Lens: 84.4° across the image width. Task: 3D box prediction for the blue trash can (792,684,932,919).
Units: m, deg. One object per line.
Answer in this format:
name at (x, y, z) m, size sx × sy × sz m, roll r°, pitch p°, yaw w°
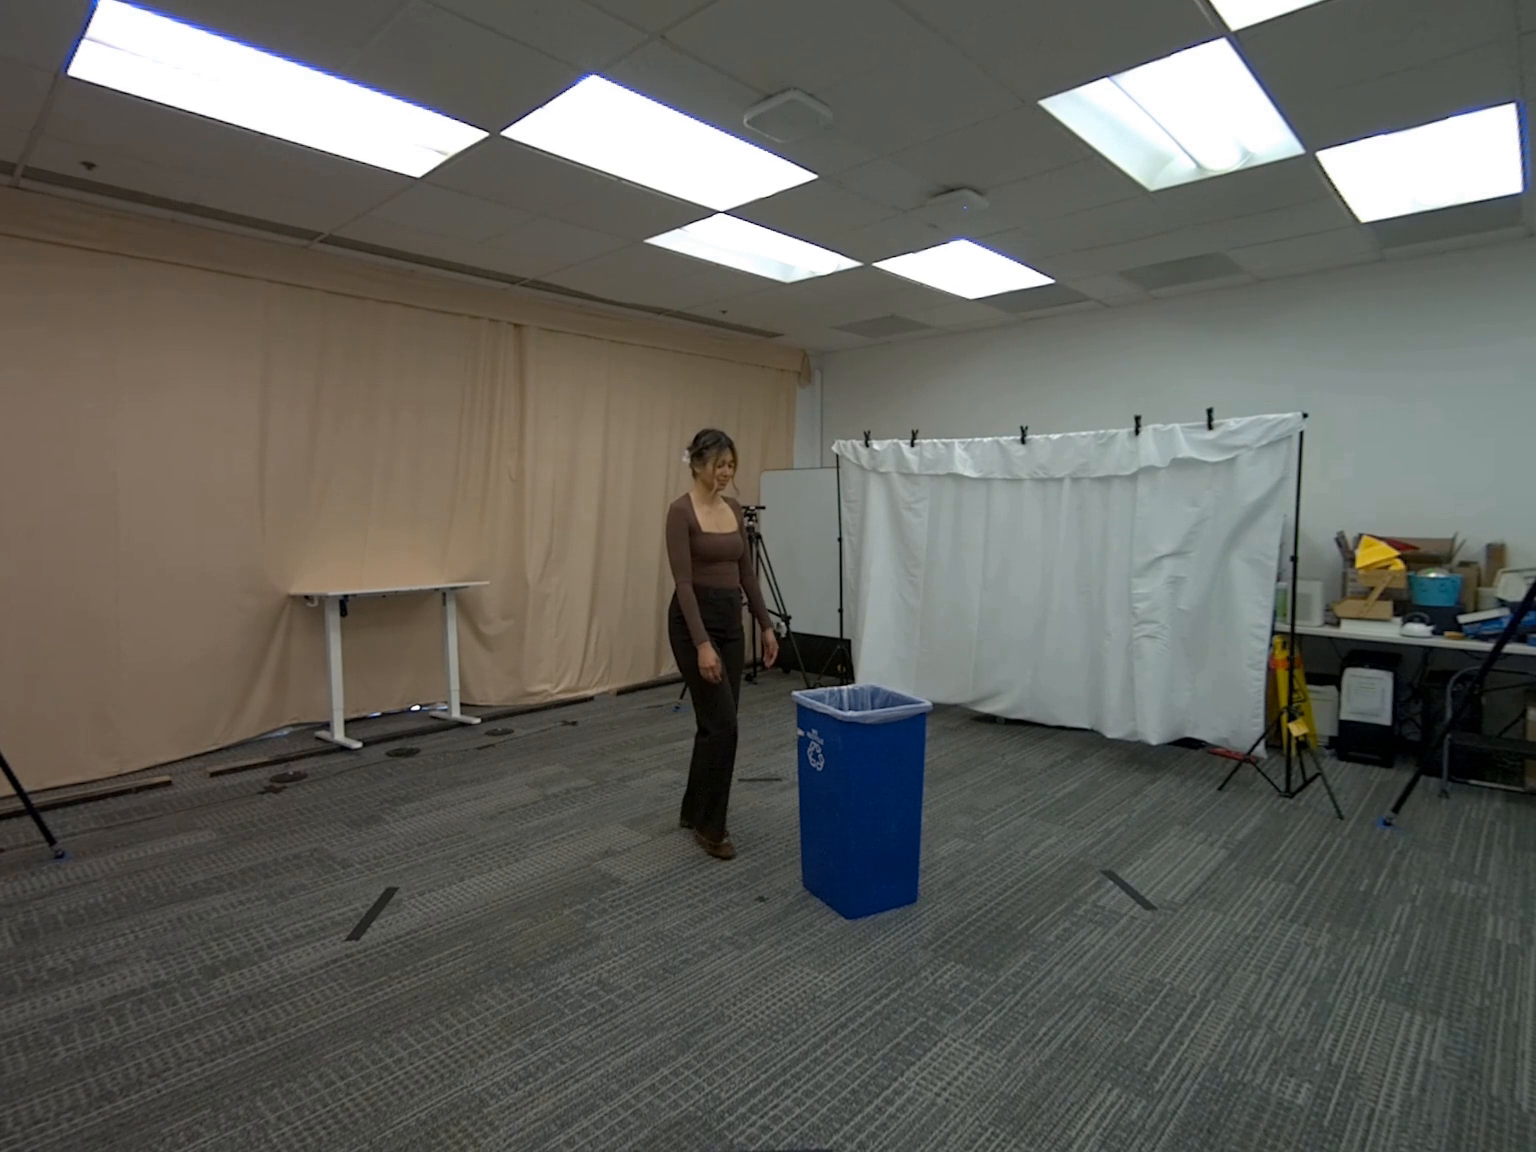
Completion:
blue trash can at (0.336, 0.783, 2.996) m, size 0.368 × 0.712 × 0.385 m, roll -2°, pitch 4°, yaw -29°
